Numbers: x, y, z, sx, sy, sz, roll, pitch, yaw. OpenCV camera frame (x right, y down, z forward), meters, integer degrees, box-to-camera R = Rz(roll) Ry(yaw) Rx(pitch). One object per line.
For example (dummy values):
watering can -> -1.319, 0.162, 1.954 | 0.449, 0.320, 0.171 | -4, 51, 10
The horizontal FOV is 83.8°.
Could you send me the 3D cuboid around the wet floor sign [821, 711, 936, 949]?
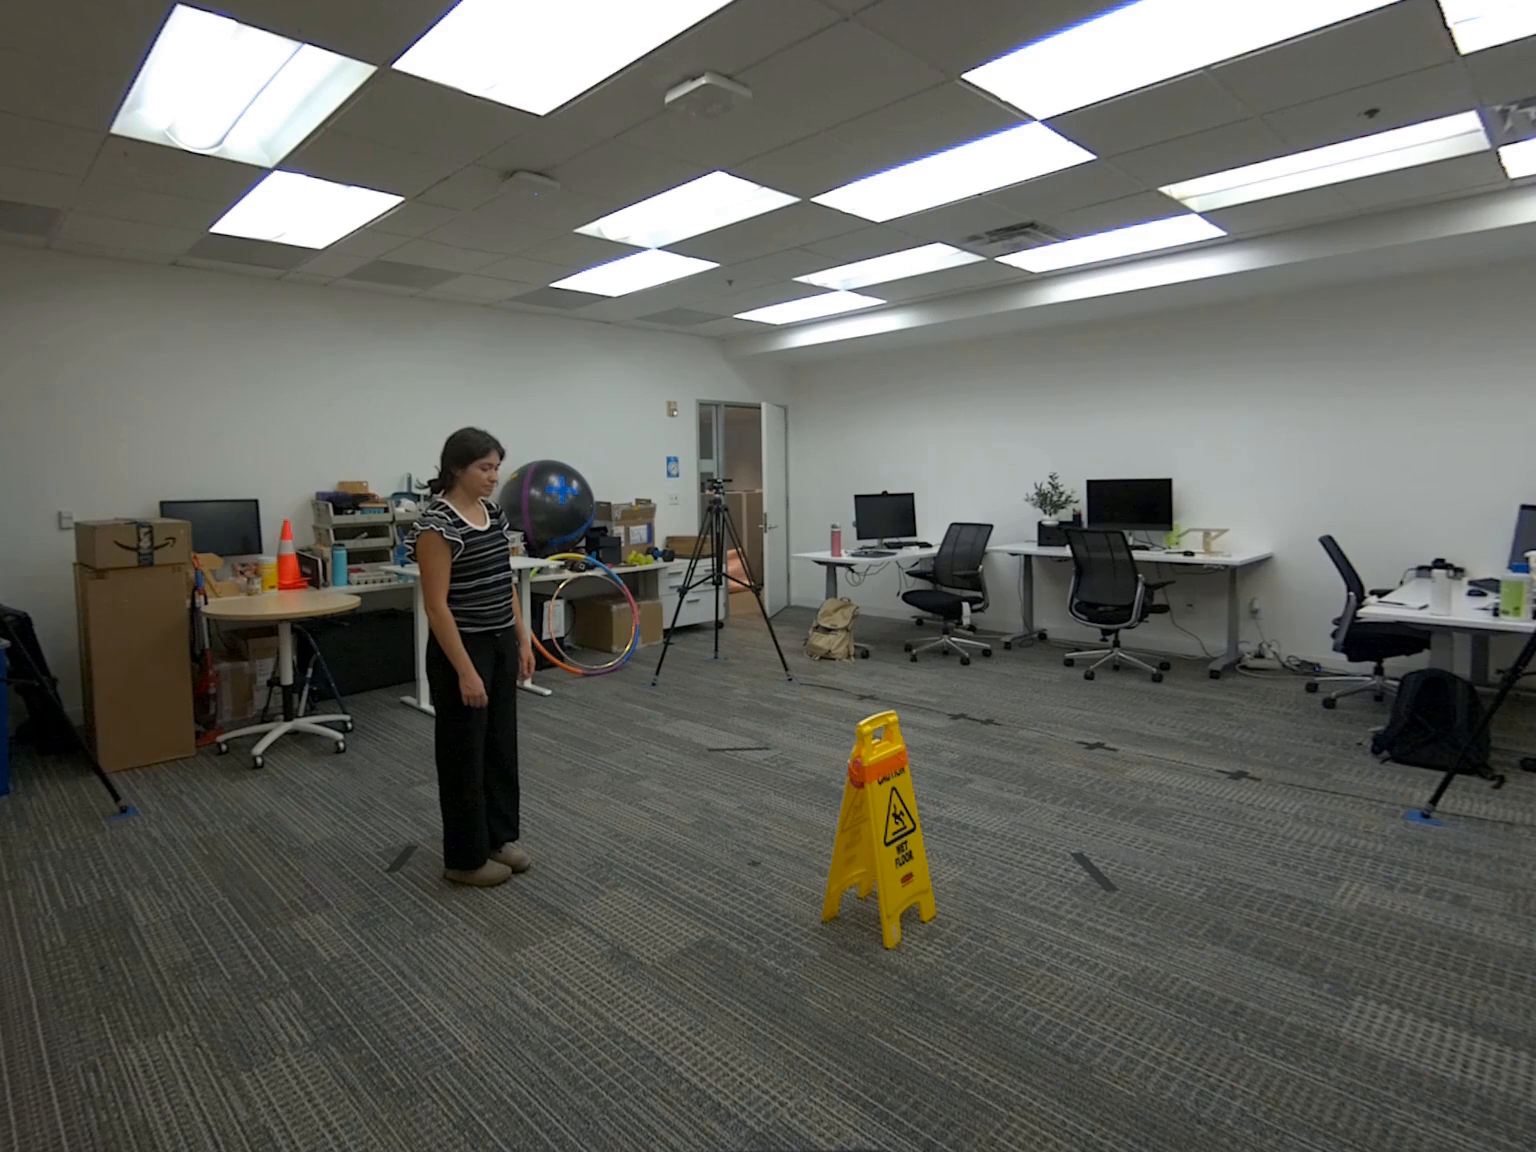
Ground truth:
wet floor sign -> 0.346, 0.756, 2.681 | 0.299, 0.643, 0.275 | 4, 6, 42
